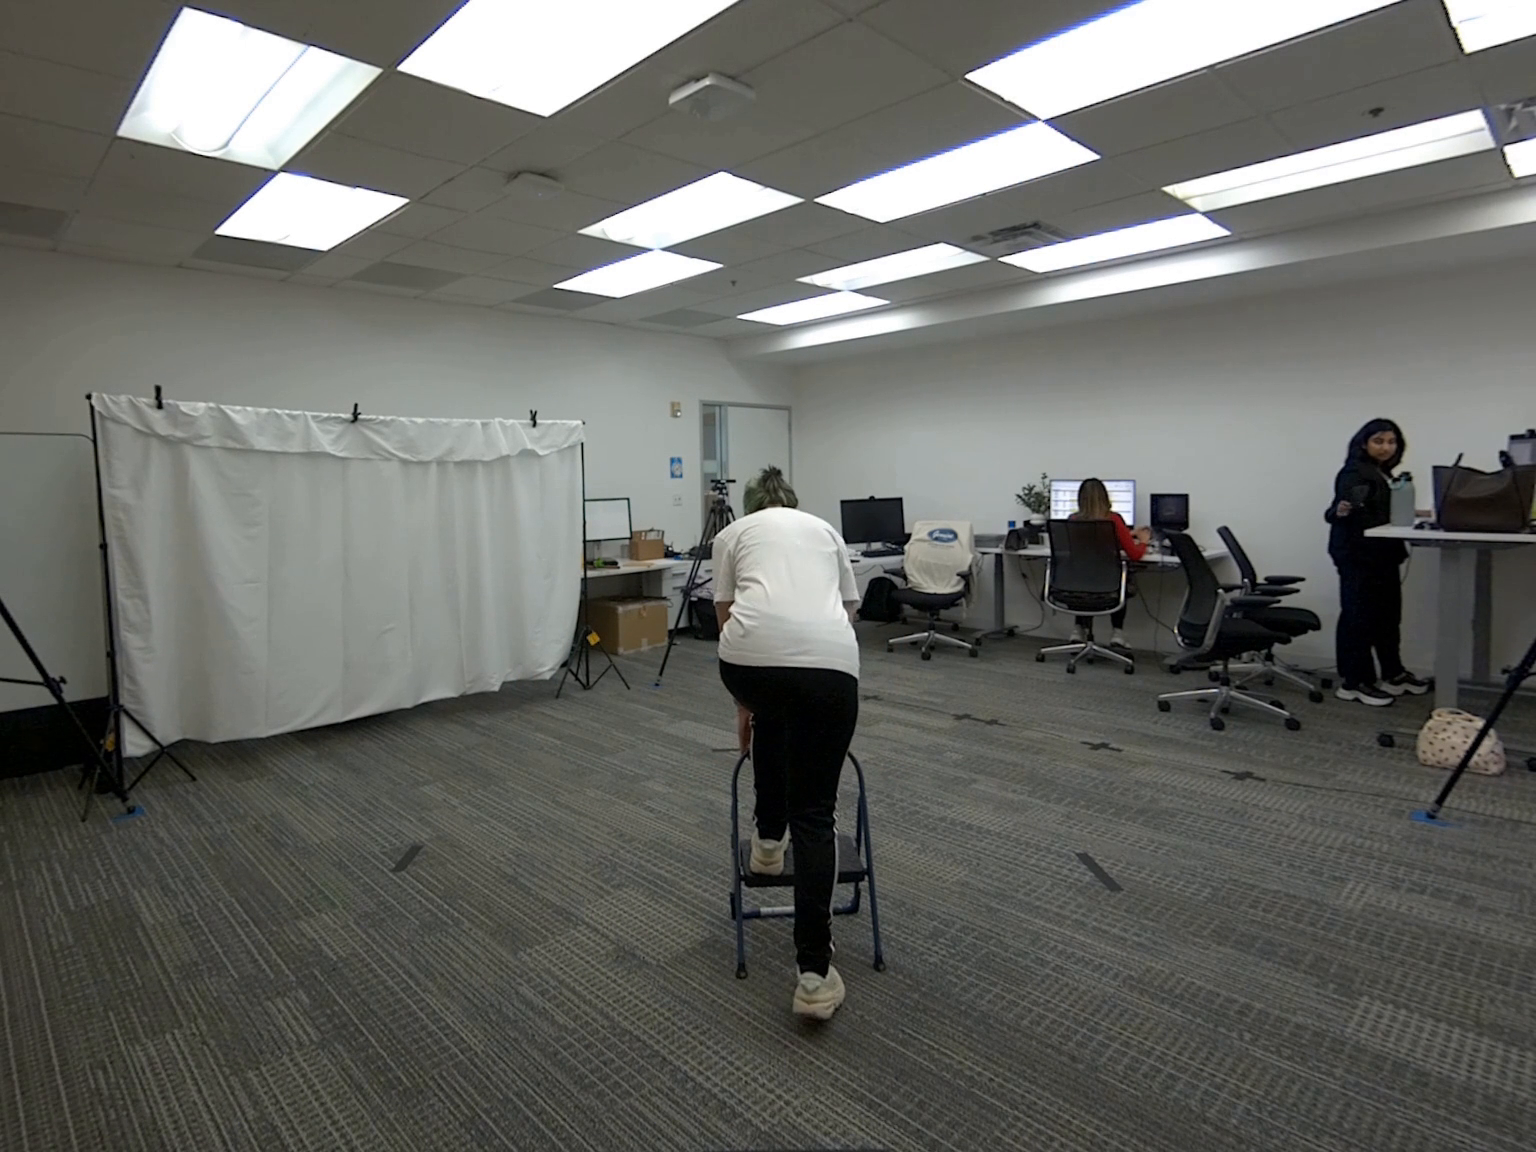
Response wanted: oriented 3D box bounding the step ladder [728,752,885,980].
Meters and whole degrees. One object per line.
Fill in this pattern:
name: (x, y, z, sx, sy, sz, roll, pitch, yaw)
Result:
step ladder: (0.106, 0.810, 2.562, 0.429, 0.603, 0.352, -2, 5, -5)
